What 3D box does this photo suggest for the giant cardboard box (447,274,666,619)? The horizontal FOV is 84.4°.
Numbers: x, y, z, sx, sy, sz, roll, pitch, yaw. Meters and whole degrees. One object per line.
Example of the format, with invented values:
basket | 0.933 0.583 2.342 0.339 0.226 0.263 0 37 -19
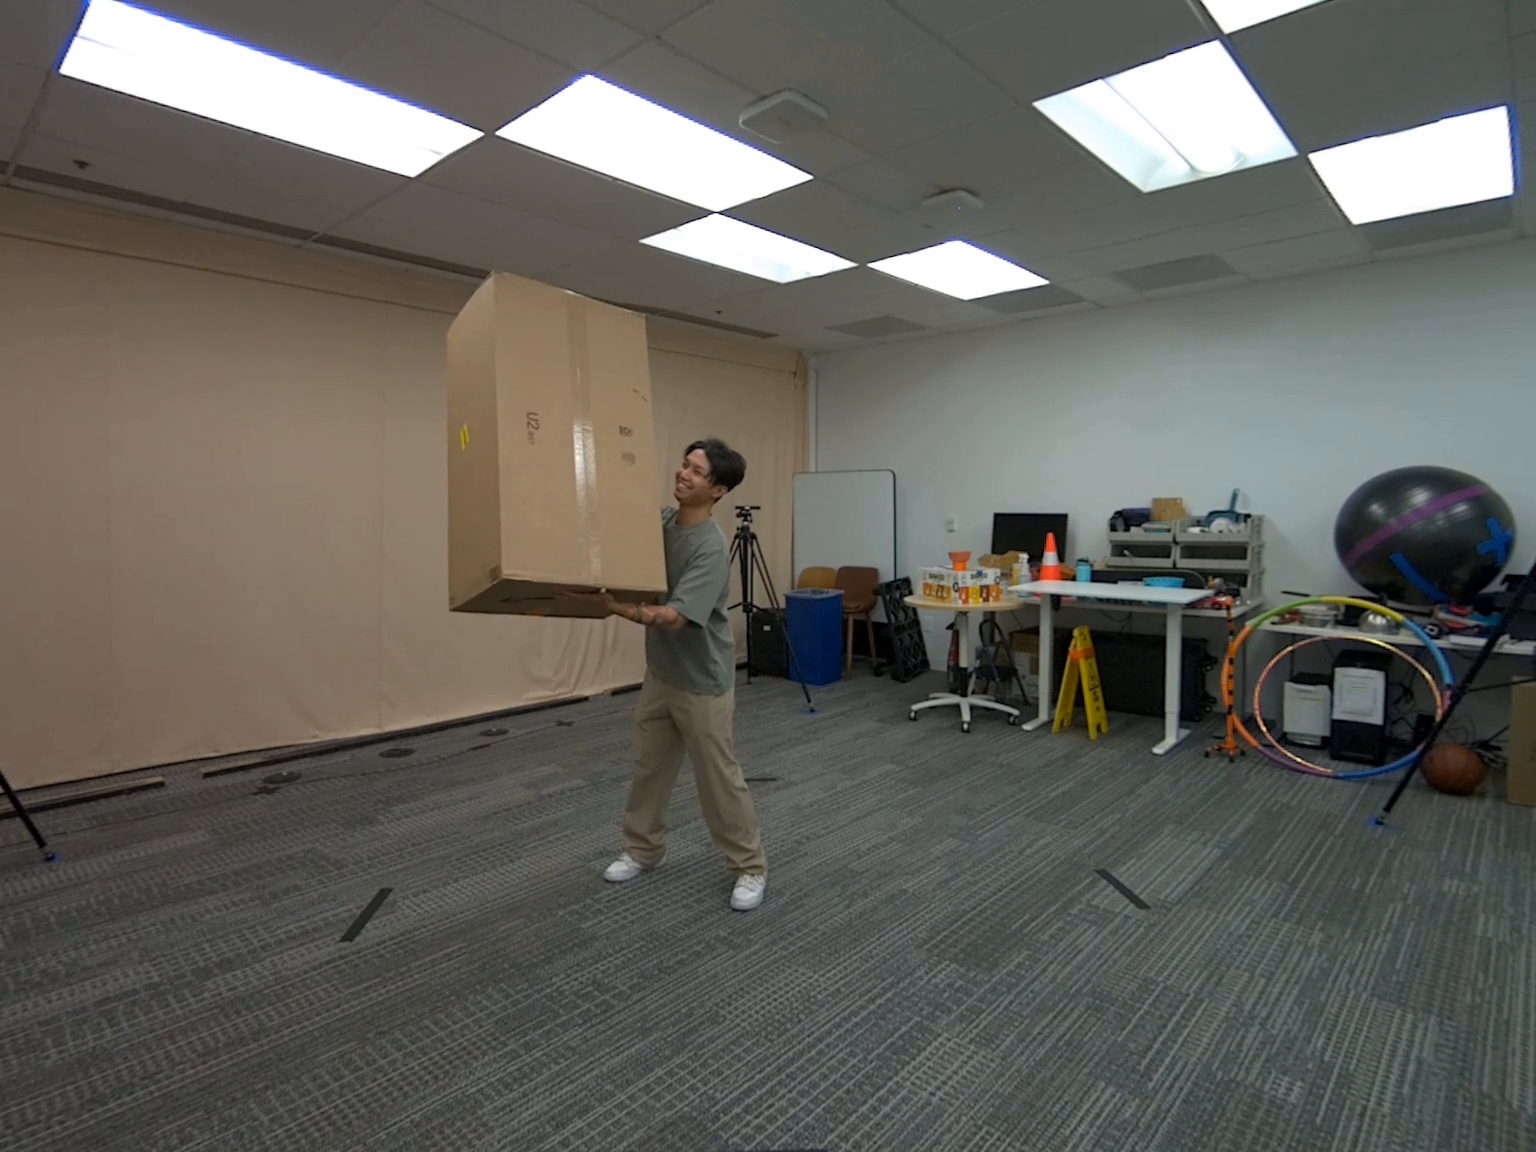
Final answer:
giant cardboard box | -0.731 -0.394 2.858 0.559 1.038 0.435 6 -20 -38
